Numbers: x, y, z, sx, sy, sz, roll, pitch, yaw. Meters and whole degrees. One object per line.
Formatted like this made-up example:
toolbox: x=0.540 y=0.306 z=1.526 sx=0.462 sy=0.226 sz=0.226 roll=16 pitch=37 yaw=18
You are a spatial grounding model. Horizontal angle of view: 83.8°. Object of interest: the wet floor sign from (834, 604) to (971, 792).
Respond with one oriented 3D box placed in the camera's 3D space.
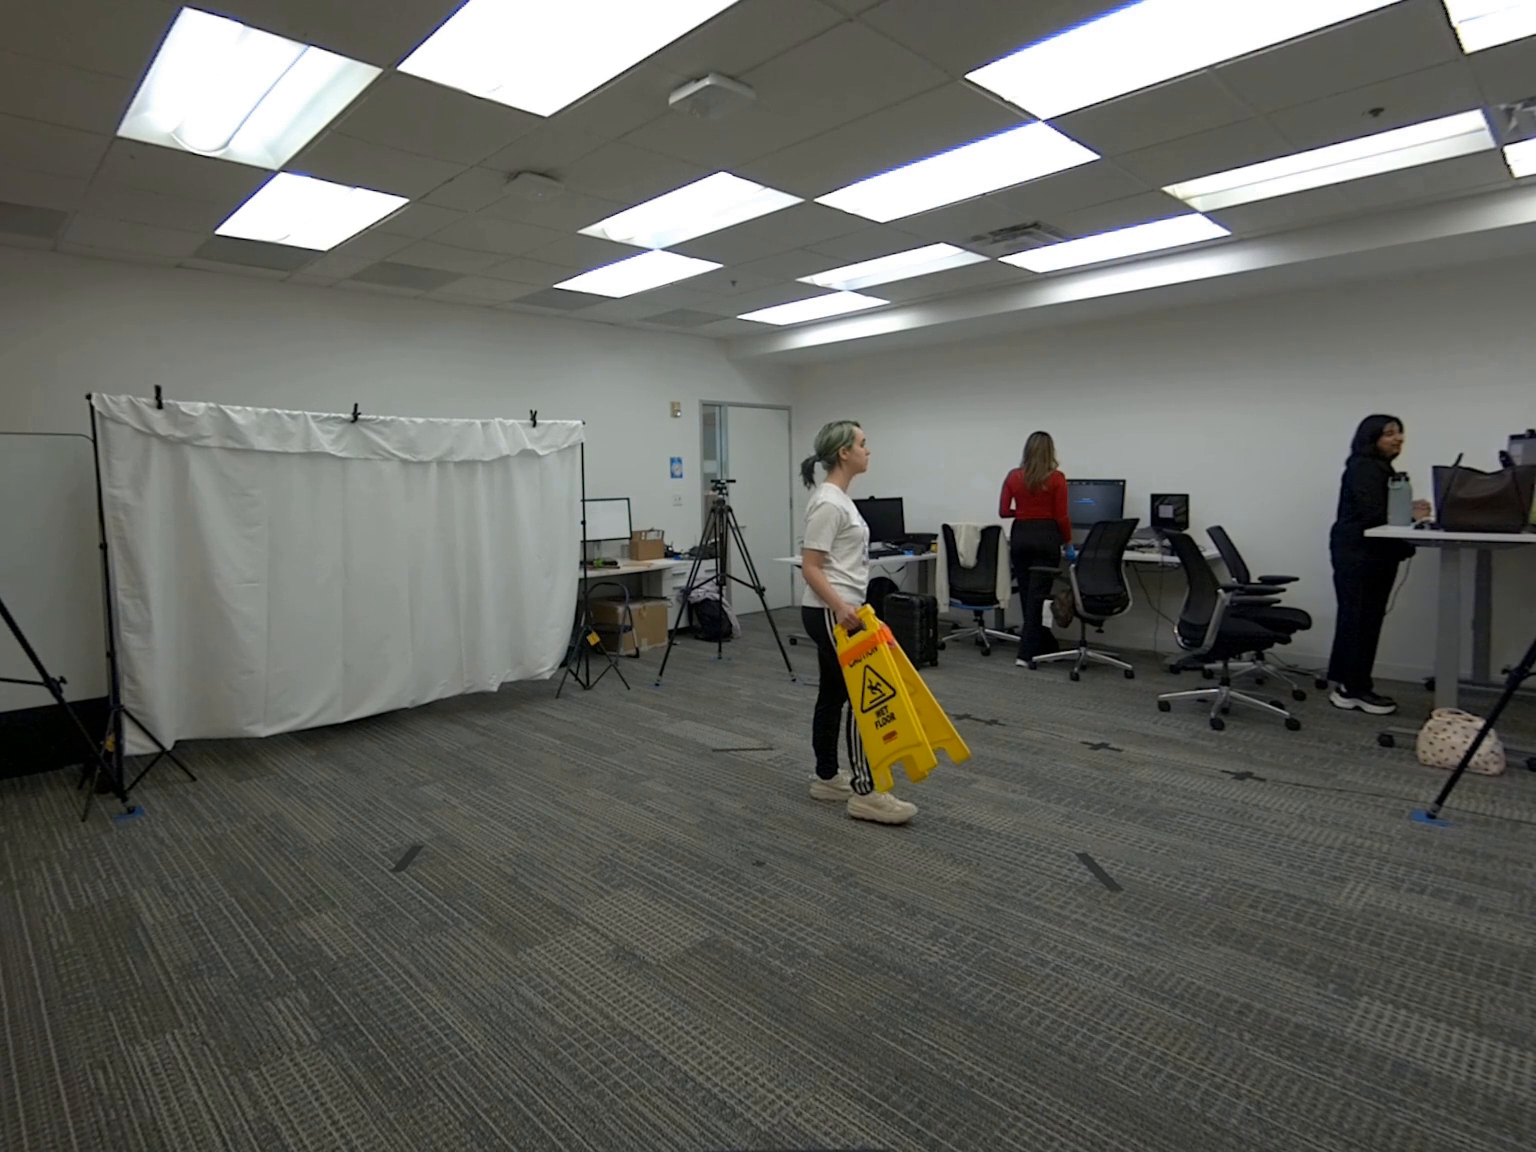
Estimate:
wet floor sign: x=0.449 y=0.446 z=3.207 sx=0.281 sy=0.663 sz=0.283 roll=3 pitch=-34 yaw=-47
